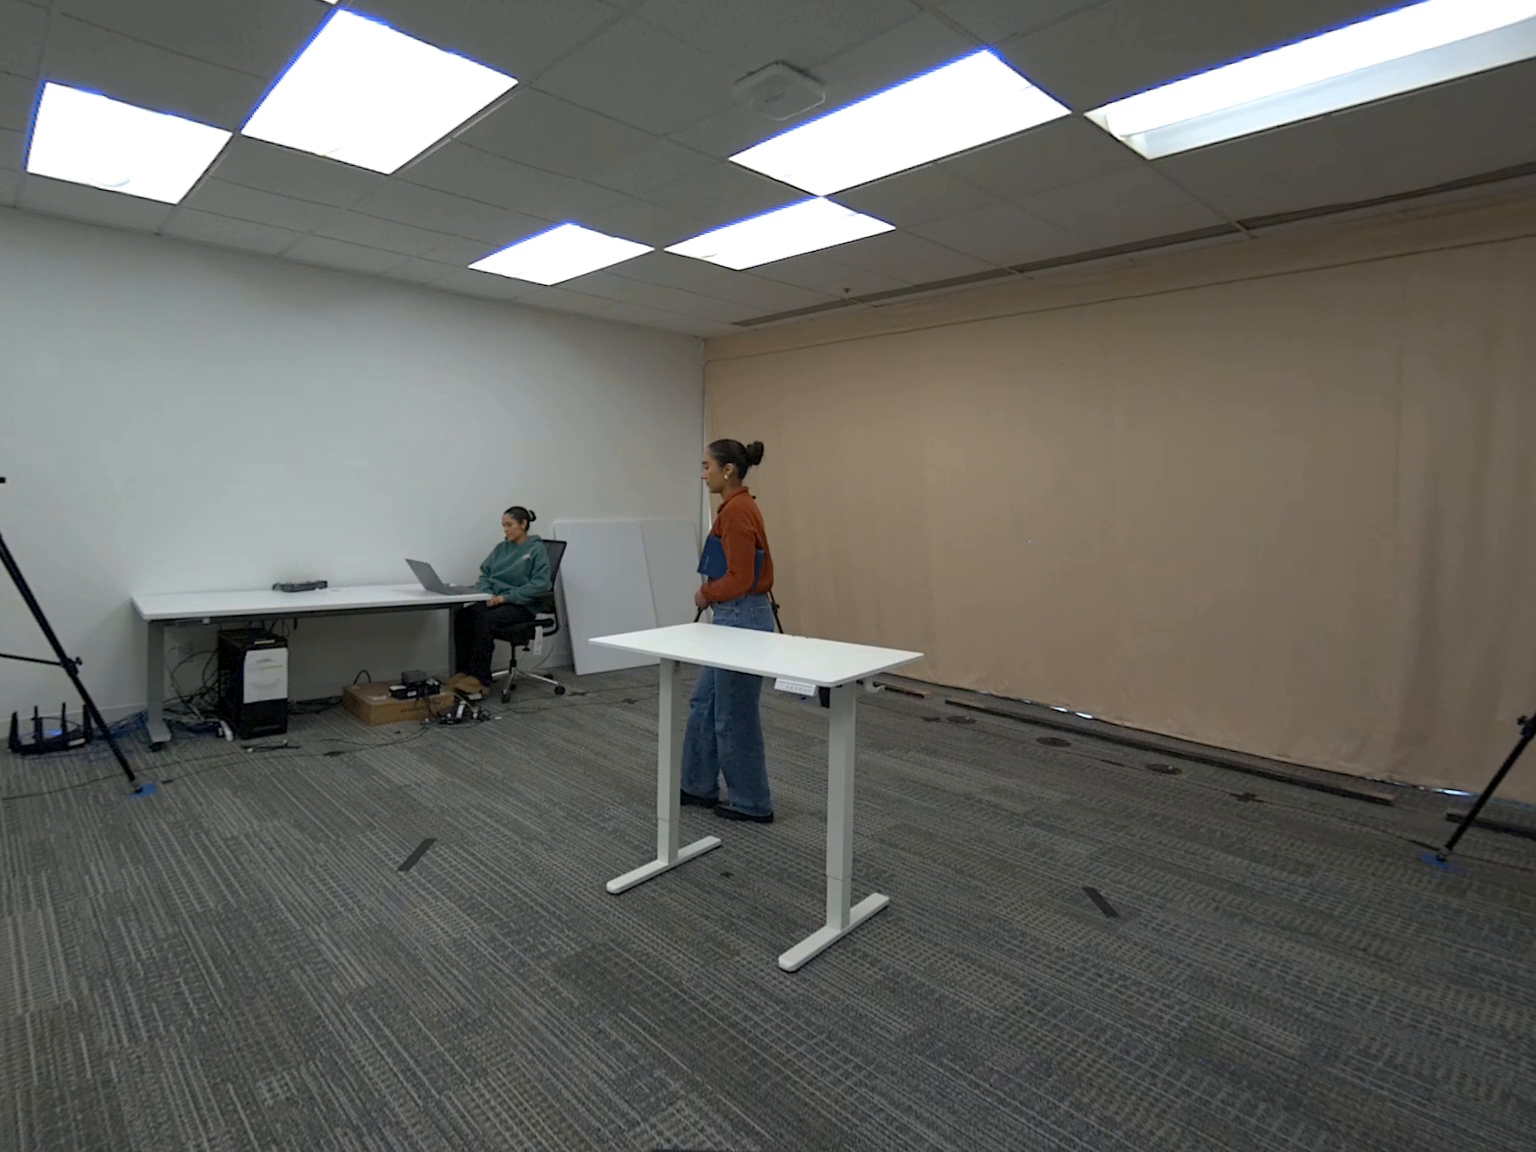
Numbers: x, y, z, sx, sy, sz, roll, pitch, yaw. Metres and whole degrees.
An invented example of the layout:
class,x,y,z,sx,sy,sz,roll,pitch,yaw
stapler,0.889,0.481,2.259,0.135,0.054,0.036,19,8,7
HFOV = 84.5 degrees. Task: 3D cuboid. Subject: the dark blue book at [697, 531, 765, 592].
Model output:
class,x,y,z,sx,sy,sz,roll,pitch,yaw
dark blue book,-0.164,-0.065,3.467,0.246,0.163,0.045,15,8,4
